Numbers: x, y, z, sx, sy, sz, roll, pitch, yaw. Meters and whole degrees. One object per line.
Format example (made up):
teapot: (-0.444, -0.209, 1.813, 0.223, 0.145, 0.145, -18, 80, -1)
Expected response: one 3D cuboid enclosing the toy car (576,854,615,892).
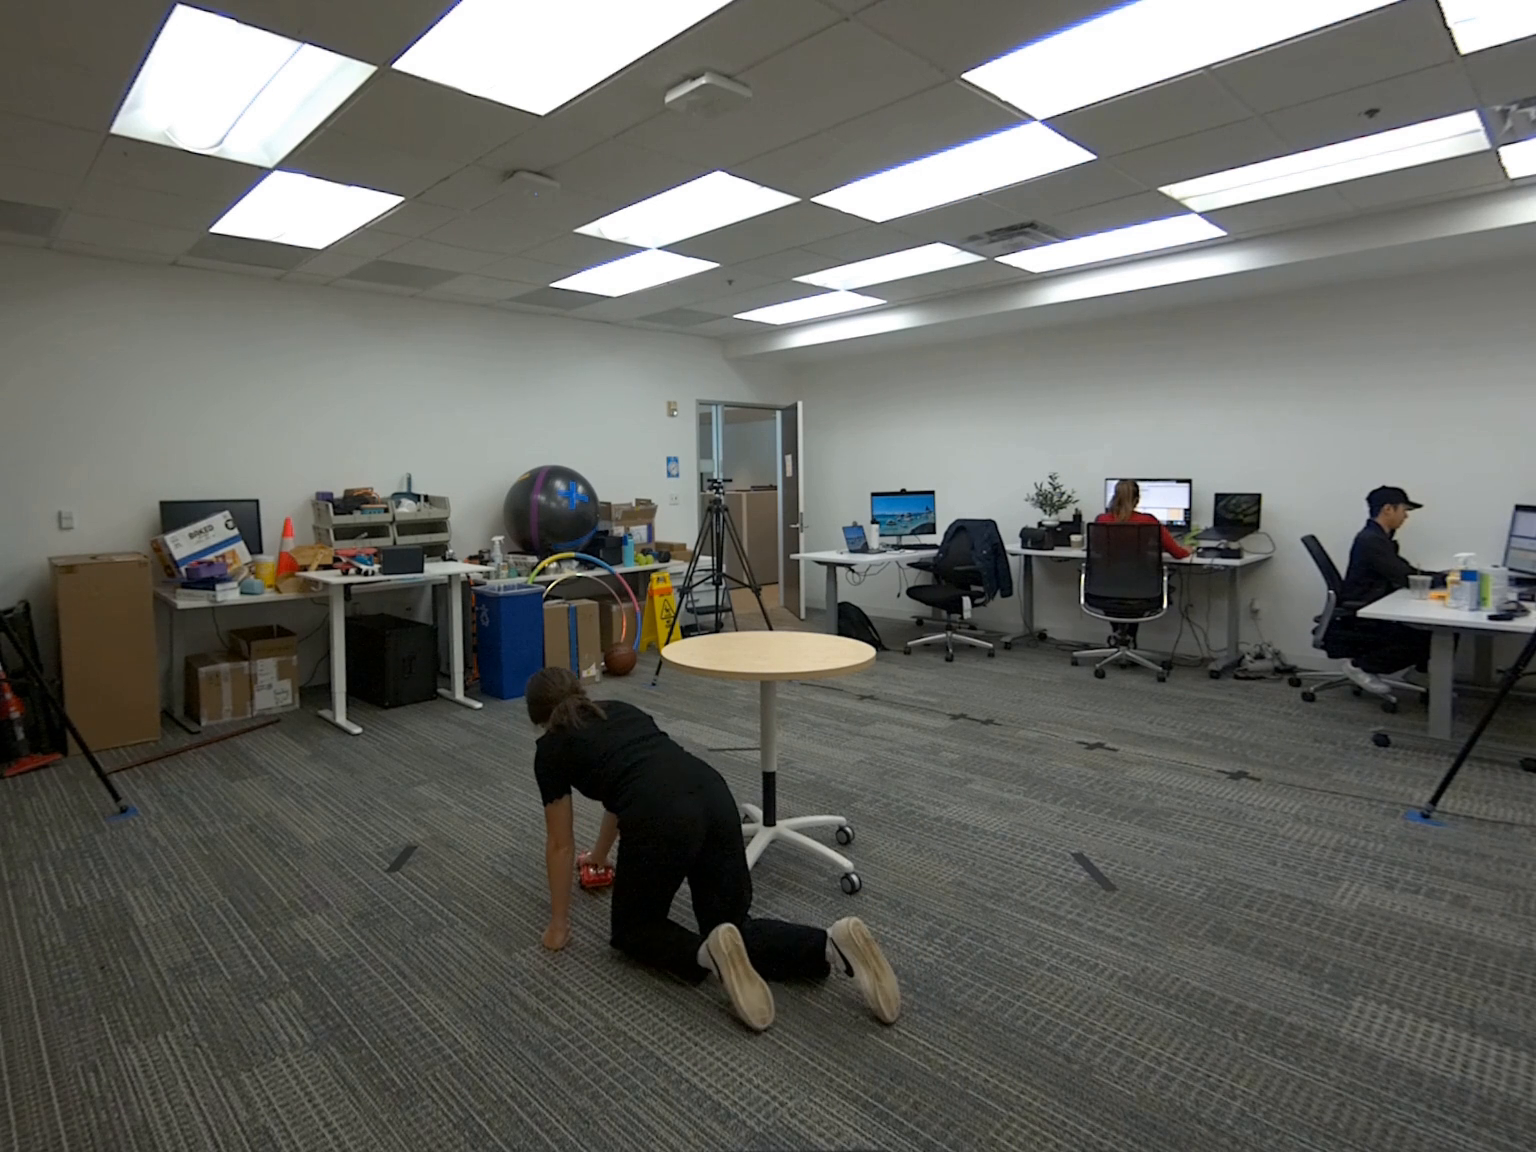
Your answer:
toy car: (-0.609, 1.037, 3.004, 0.128, 0.084, 0.257, -2, -4, -16)
